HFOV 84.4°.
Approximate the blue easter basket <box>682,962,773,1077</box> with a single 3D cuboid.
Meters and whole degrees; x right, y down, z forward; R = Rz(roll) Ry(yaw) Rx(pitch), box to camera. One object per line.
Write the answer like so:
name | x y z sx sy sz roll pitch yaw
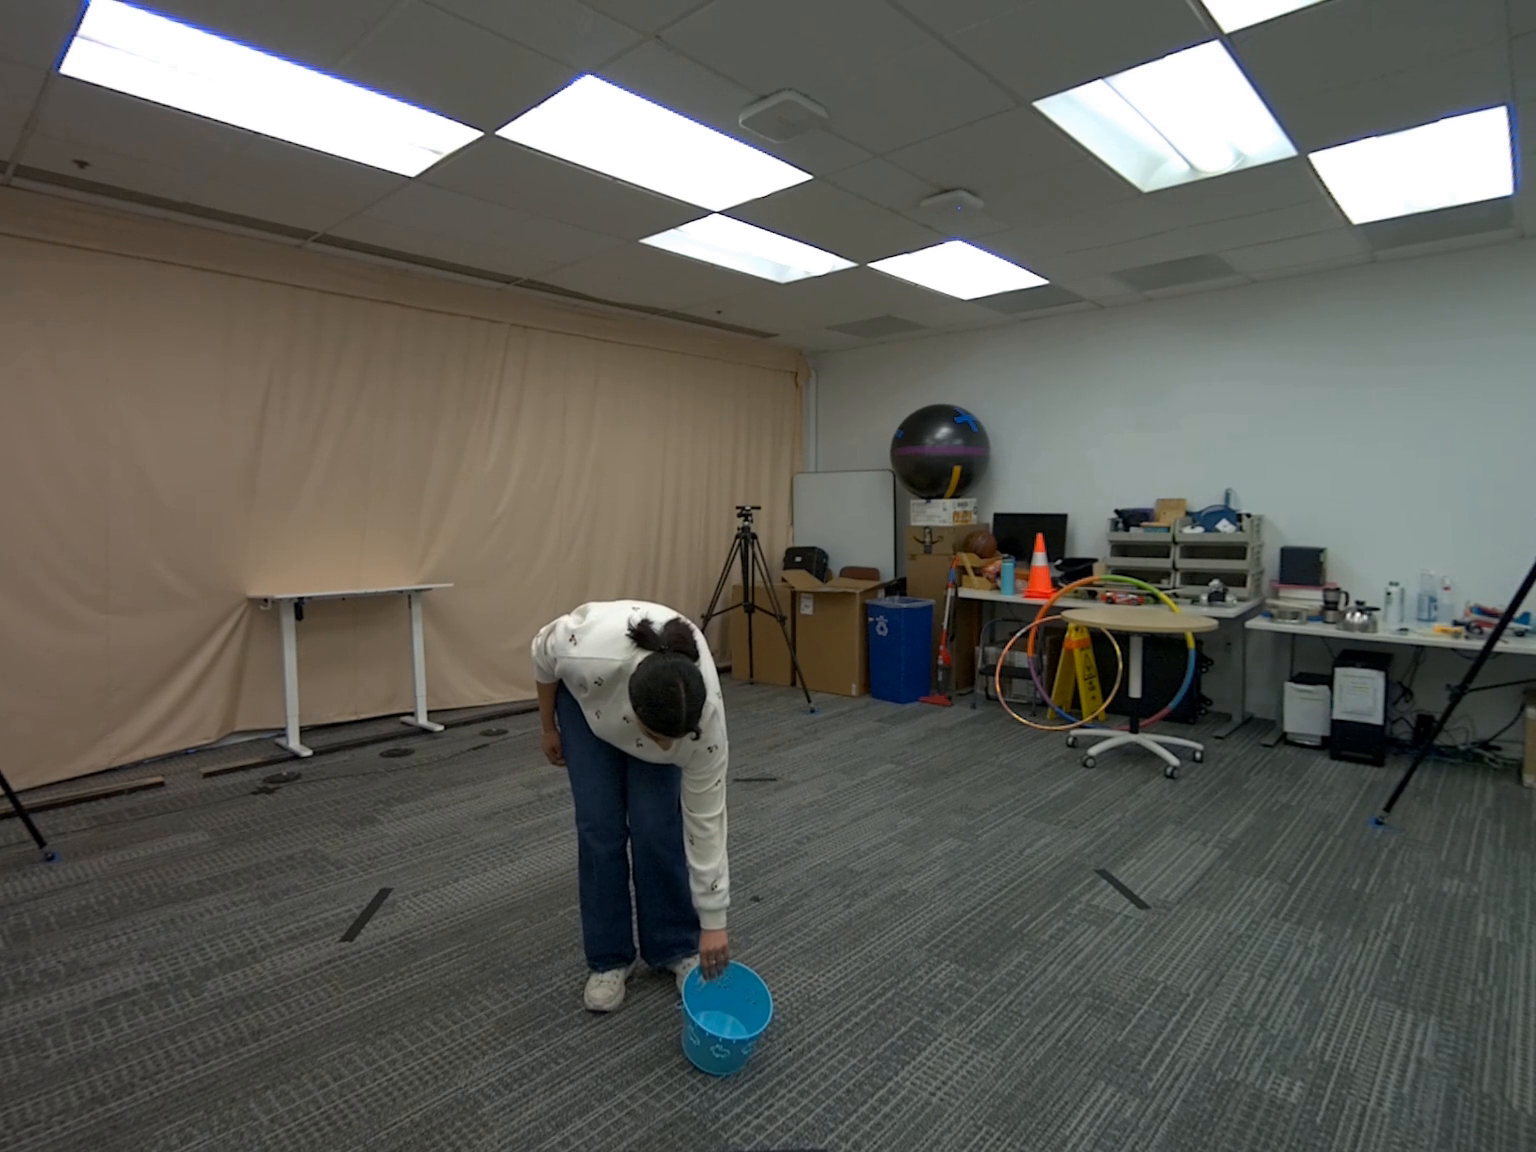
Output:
blue easter basket | -0.107 1.117 2.110 0.242 0.155 0.247 9 19 -5
